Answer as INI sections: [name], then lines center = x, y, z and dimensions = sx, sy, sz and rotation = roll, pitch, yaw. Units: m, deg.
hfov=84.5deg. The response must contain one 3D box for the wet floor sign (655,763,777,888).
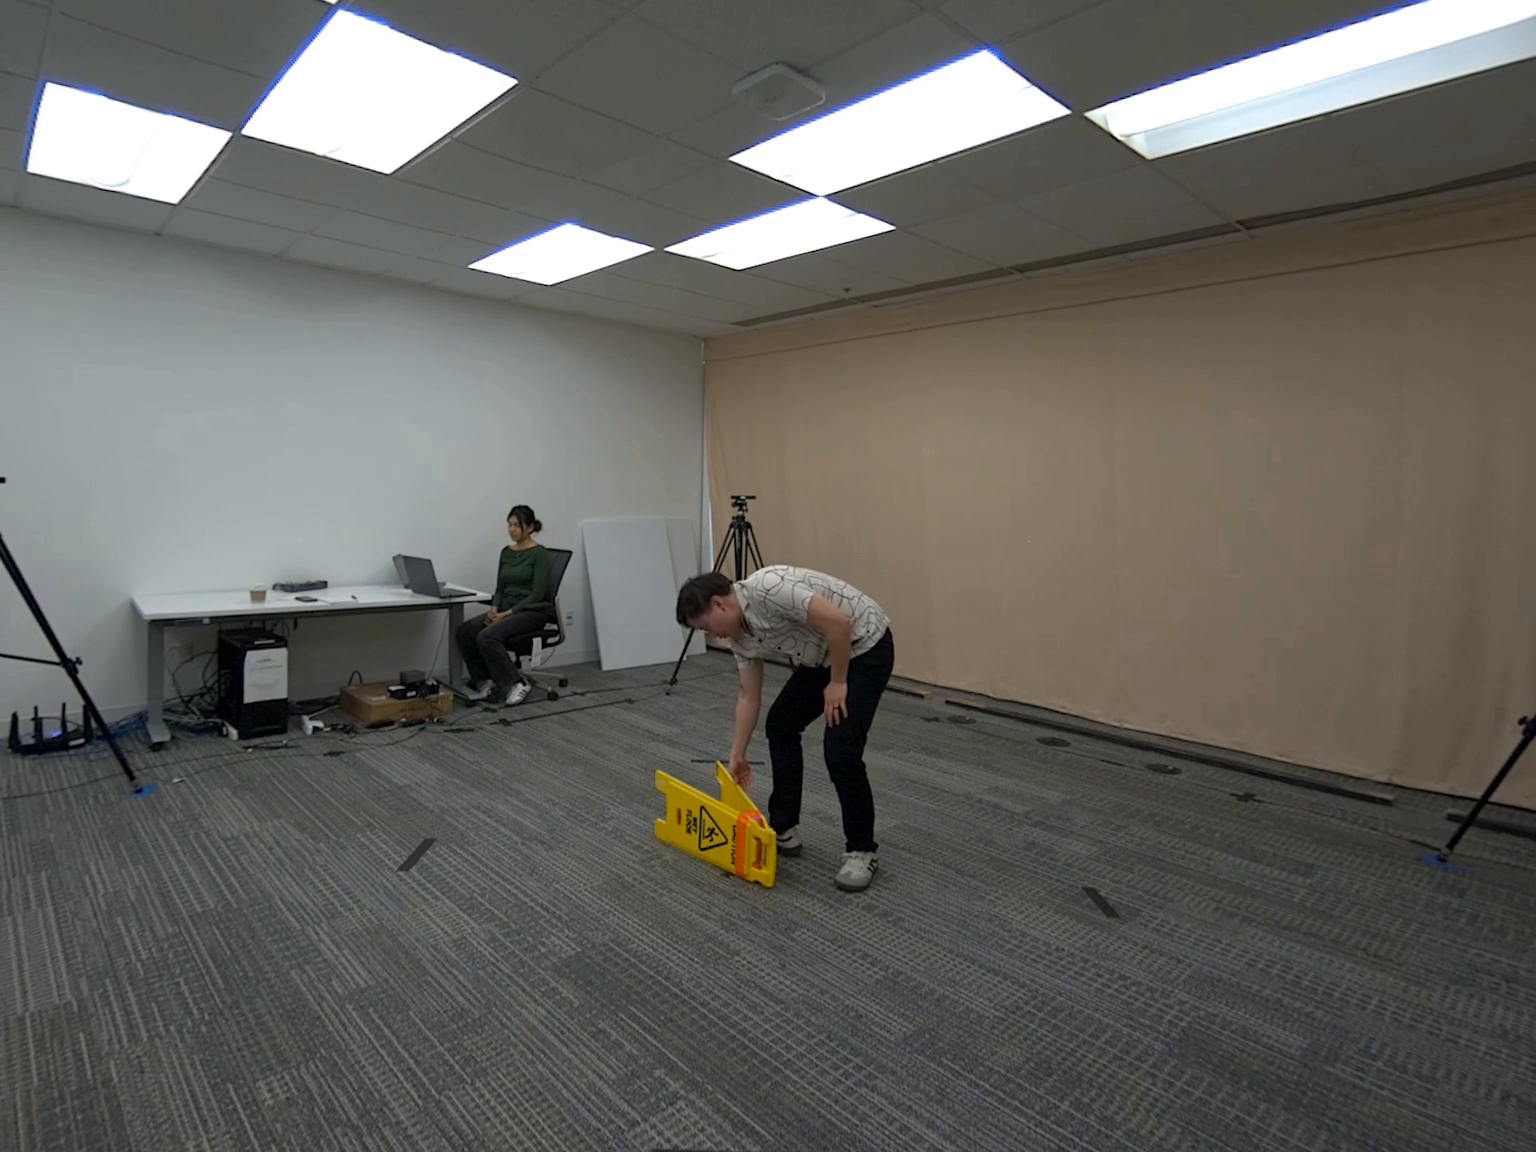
[wet floor sign]
center = -0.164, 0.959, 3.229
dimensions = 0.284, 0.281, 0.662
rotation = -2, 8, -32
